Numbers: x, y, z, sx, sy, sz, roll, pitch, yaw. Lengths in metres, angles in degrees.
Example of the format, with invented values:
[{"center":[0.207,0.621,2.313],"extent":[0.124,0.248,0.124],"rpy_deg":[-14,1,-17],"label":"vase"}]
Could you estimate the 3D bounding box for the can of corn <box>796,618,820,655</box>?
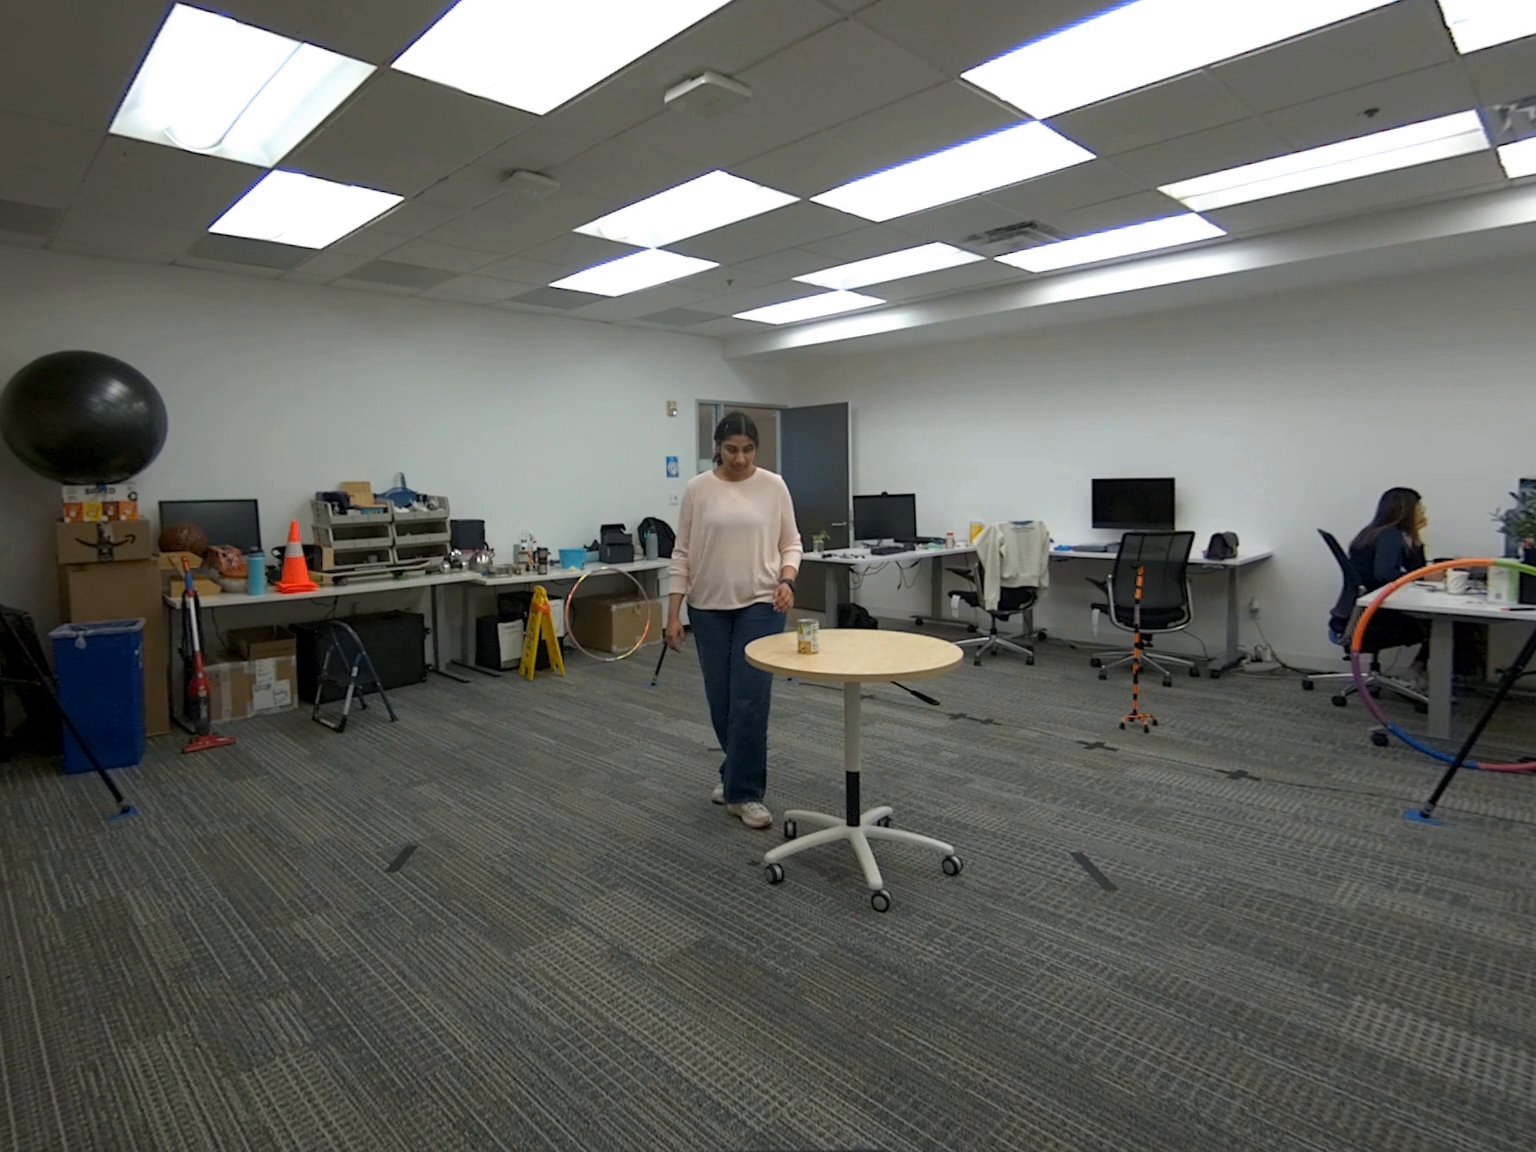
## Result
[{"center":[0.144,0.215,2.999],"extent":[0.074,0.110,0.074],"rpy_deg":[1,5,-2],"label":"can of corn"}]
